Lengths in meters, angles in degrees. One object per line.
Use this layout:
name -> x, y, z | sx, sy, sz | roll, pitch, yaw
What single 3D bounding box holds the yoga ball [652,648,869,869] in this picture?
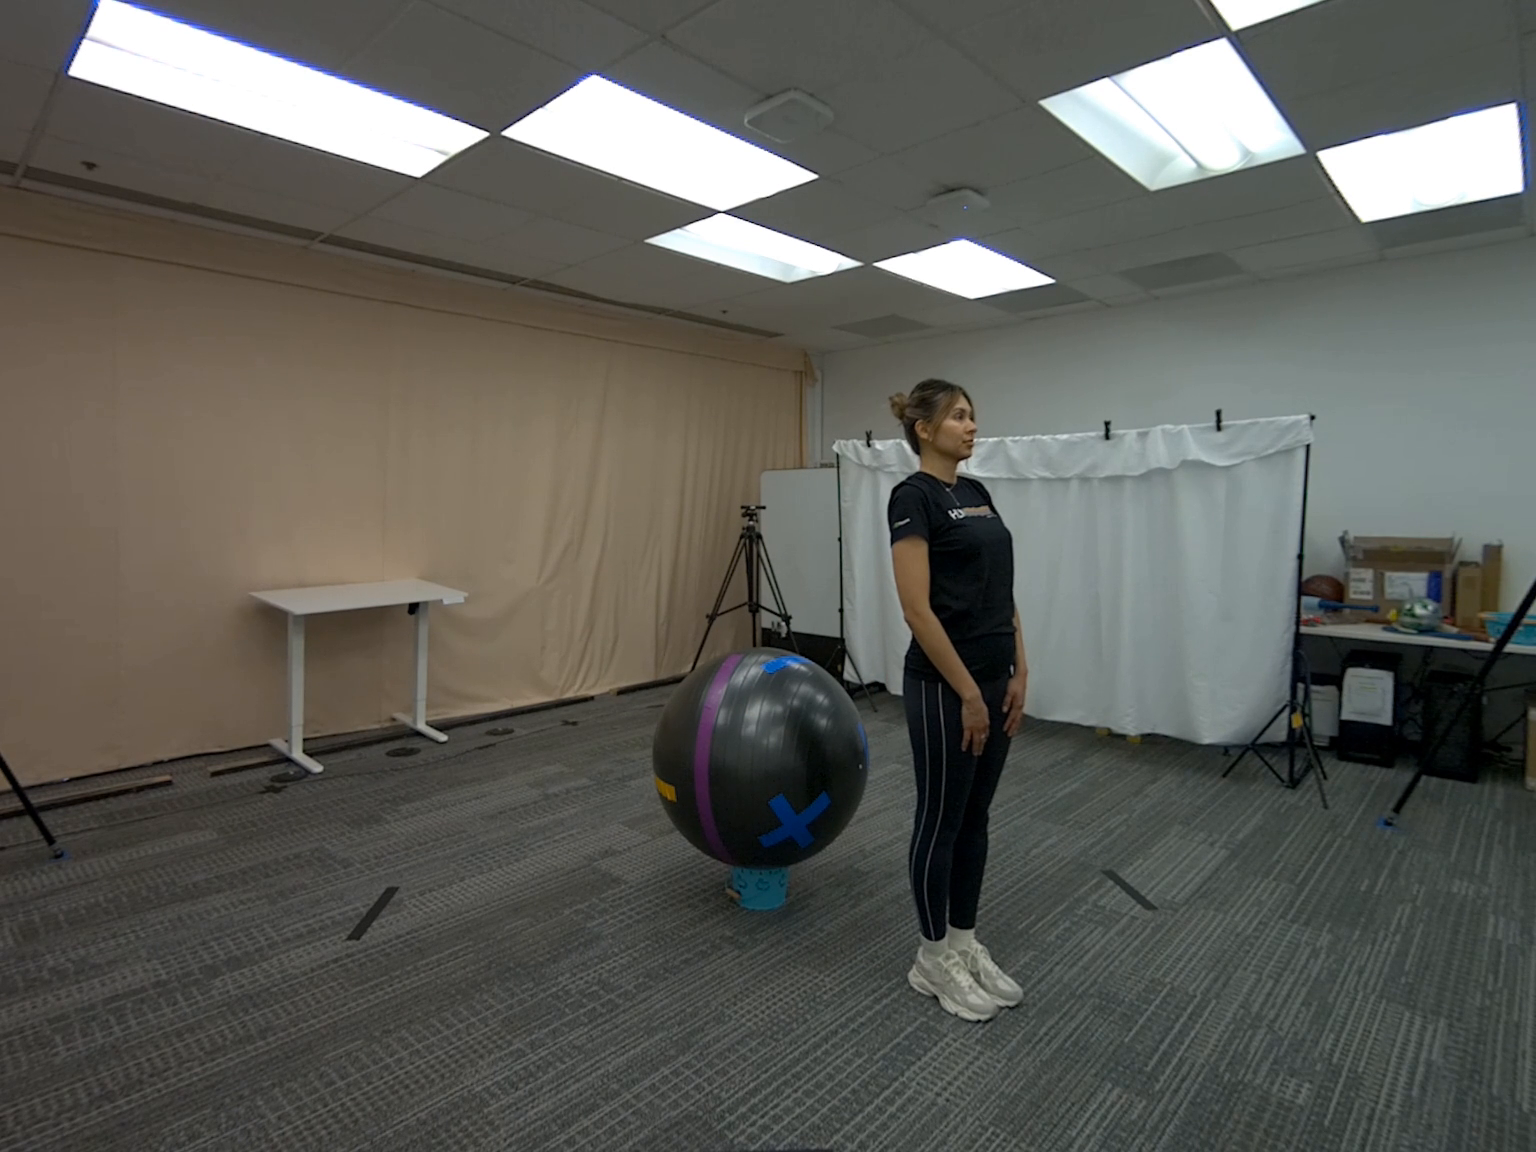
yoga ball -> -0.023, 0.631, 2.972 | 0.757, 0.756, 0.760 | 0, 4, -2
